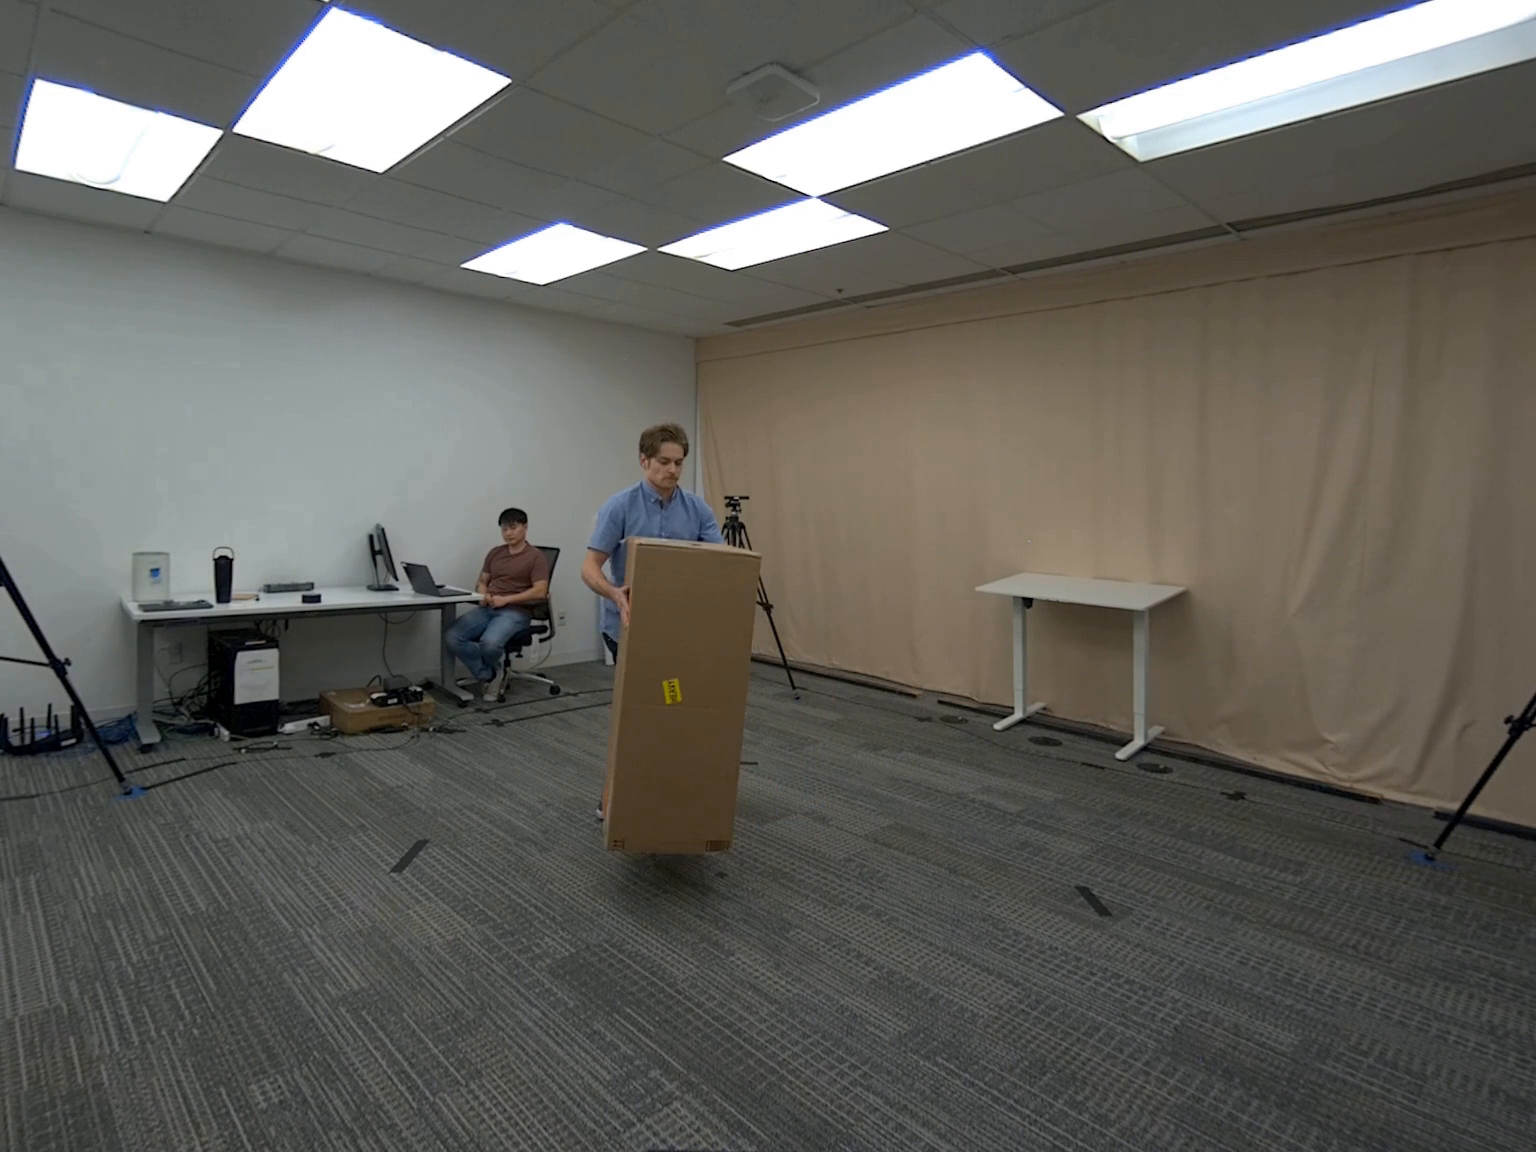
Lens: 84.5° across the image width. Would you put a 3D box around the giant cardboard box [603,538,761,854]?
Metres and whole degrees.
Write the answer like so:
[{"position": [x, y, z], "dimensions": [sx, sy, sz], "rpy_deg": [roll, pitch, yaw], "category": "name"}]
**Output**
[{"position": [-0.336, 0.398, 3.054], "dimensions": [0.443, 1.025, 0.590], "rpy_deg": [5, 3, -11], "category": "giant cardboard box"}]
